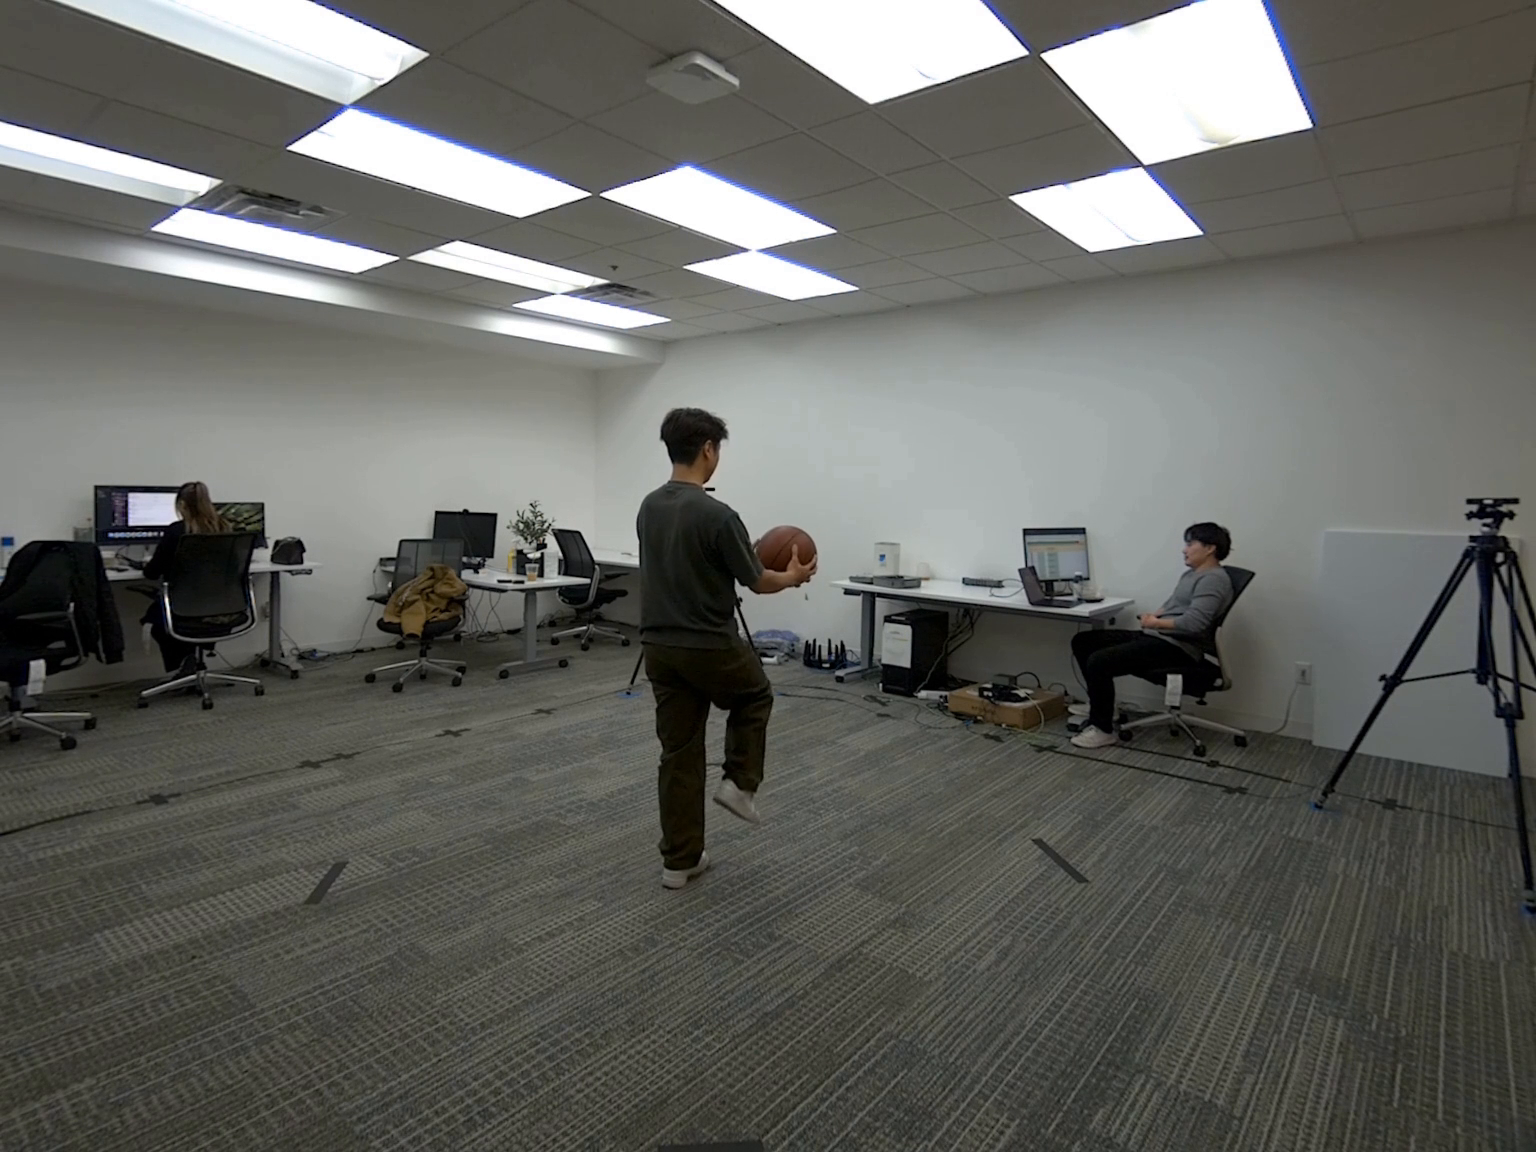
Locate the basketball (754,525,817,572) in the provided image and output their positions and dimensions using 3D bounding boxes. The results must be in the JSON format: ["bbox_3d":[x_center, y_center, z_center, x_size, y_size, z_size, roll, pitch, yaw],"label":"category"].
[{"bbox_3d":[0.058,-0.089,3.270,0.235,0.235,0.237,1,4,-2],"label":"basketball"}]
